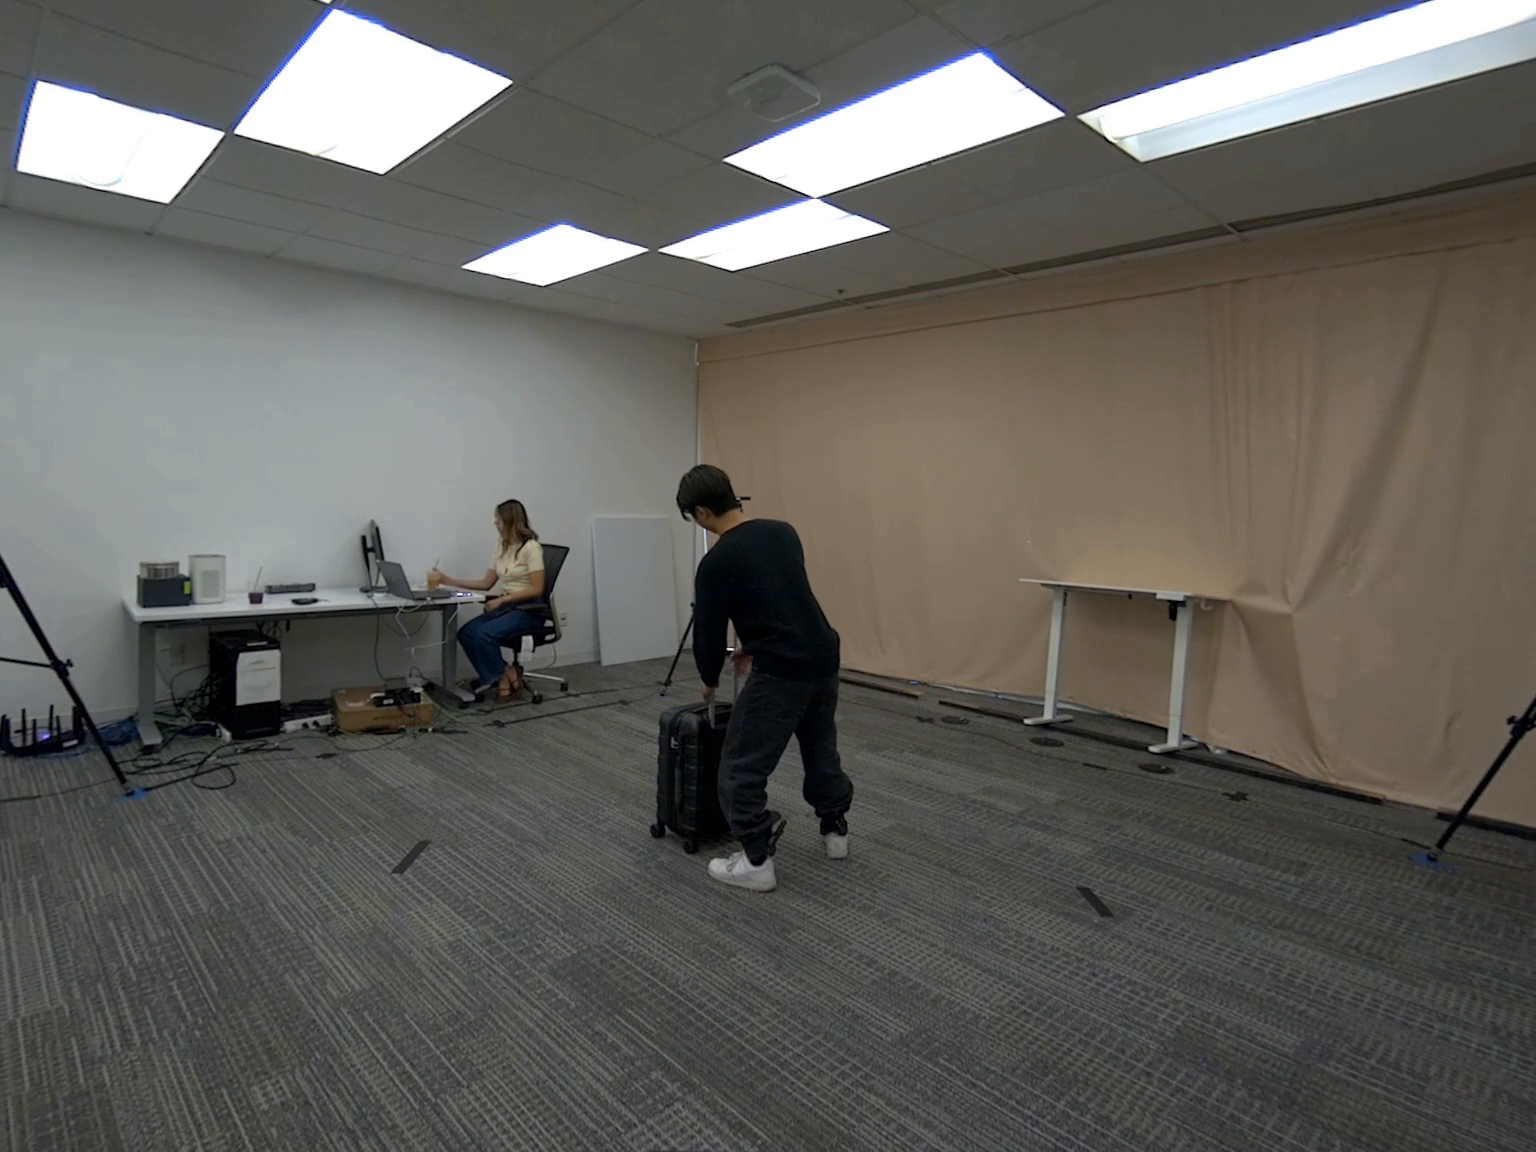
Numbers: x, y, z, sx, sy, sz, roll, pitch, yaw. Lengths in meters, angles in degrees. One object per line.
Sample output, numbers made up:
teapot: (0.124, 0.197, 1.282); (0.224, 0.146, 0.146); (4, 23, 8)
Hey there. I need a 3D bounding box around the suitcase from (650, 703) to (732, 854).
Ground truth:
suitcase: (-0.269, 0.596, 3.451); (0.375, 0.978, 0.263); (-1, 0, -44)
